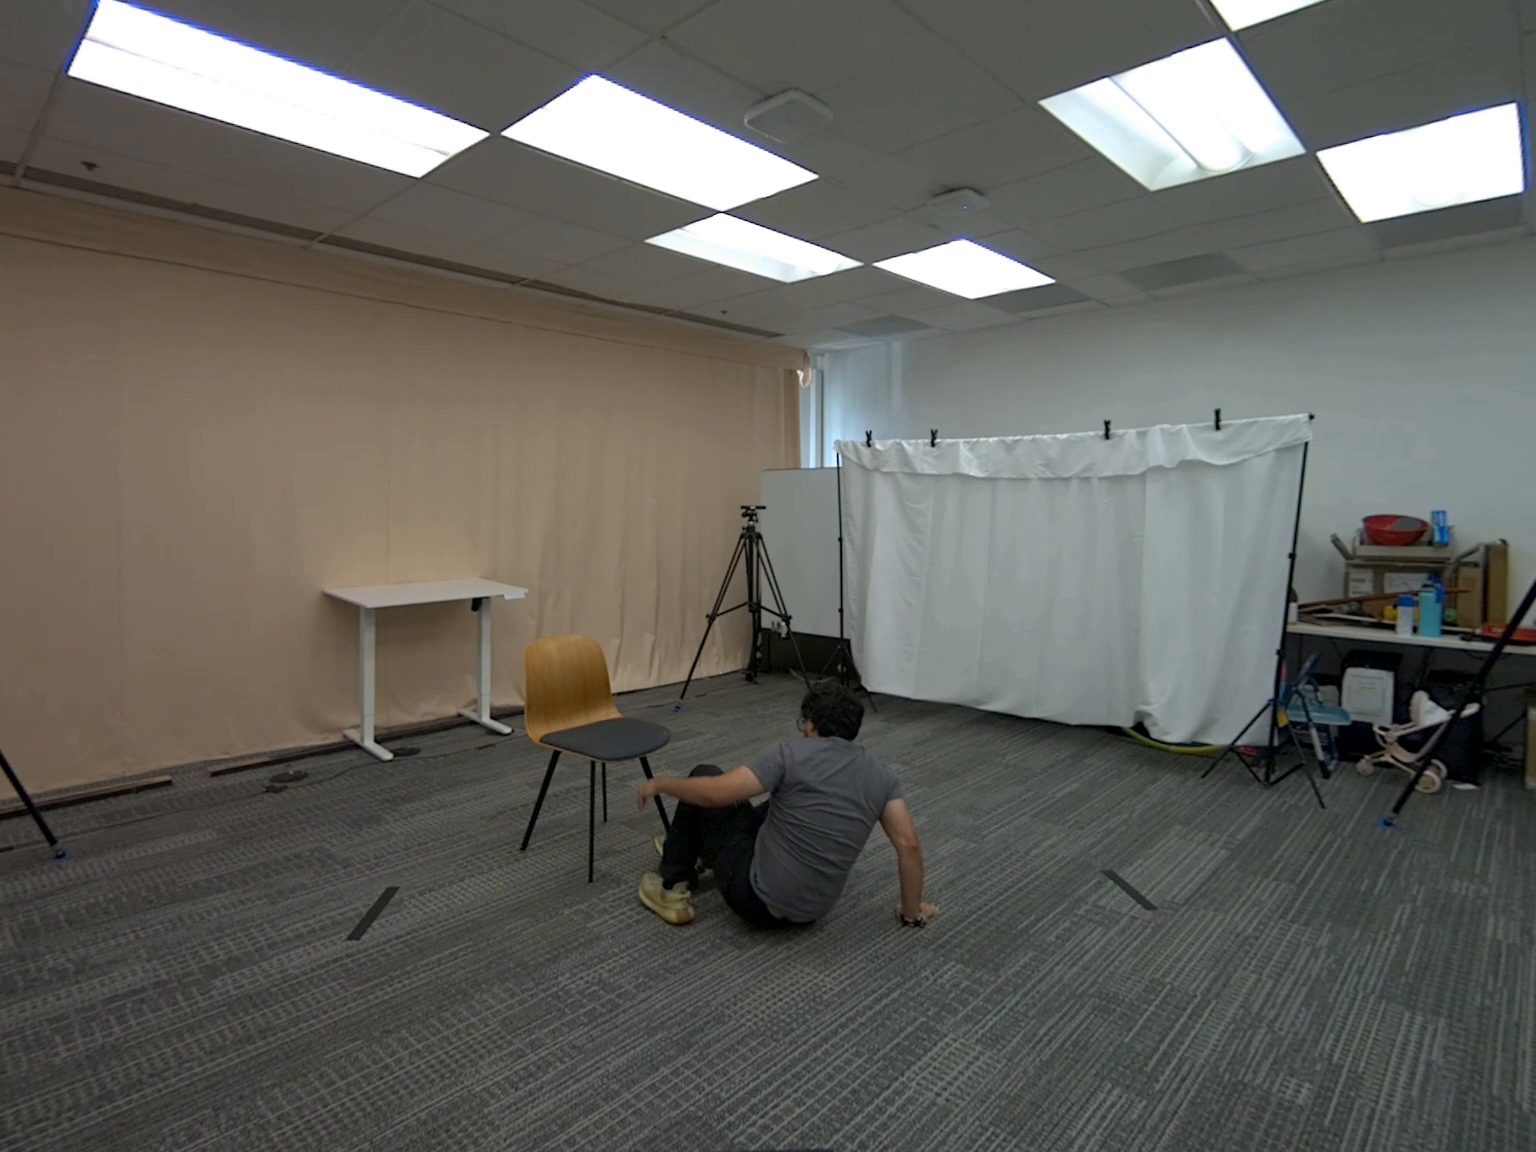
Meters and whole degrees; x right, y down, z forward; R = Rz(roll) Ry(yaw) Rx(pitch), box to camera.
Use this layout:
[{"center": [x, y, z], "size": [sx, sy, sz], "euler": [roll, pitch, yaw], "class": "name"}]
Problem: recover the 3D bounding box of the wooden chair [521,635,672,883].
[{"center": [-0.686, 0.688, 3.404], "size": [0.539, 0.877, 0.463], "euler": [-3, 0, 42], "class": "wooden chair"}]
